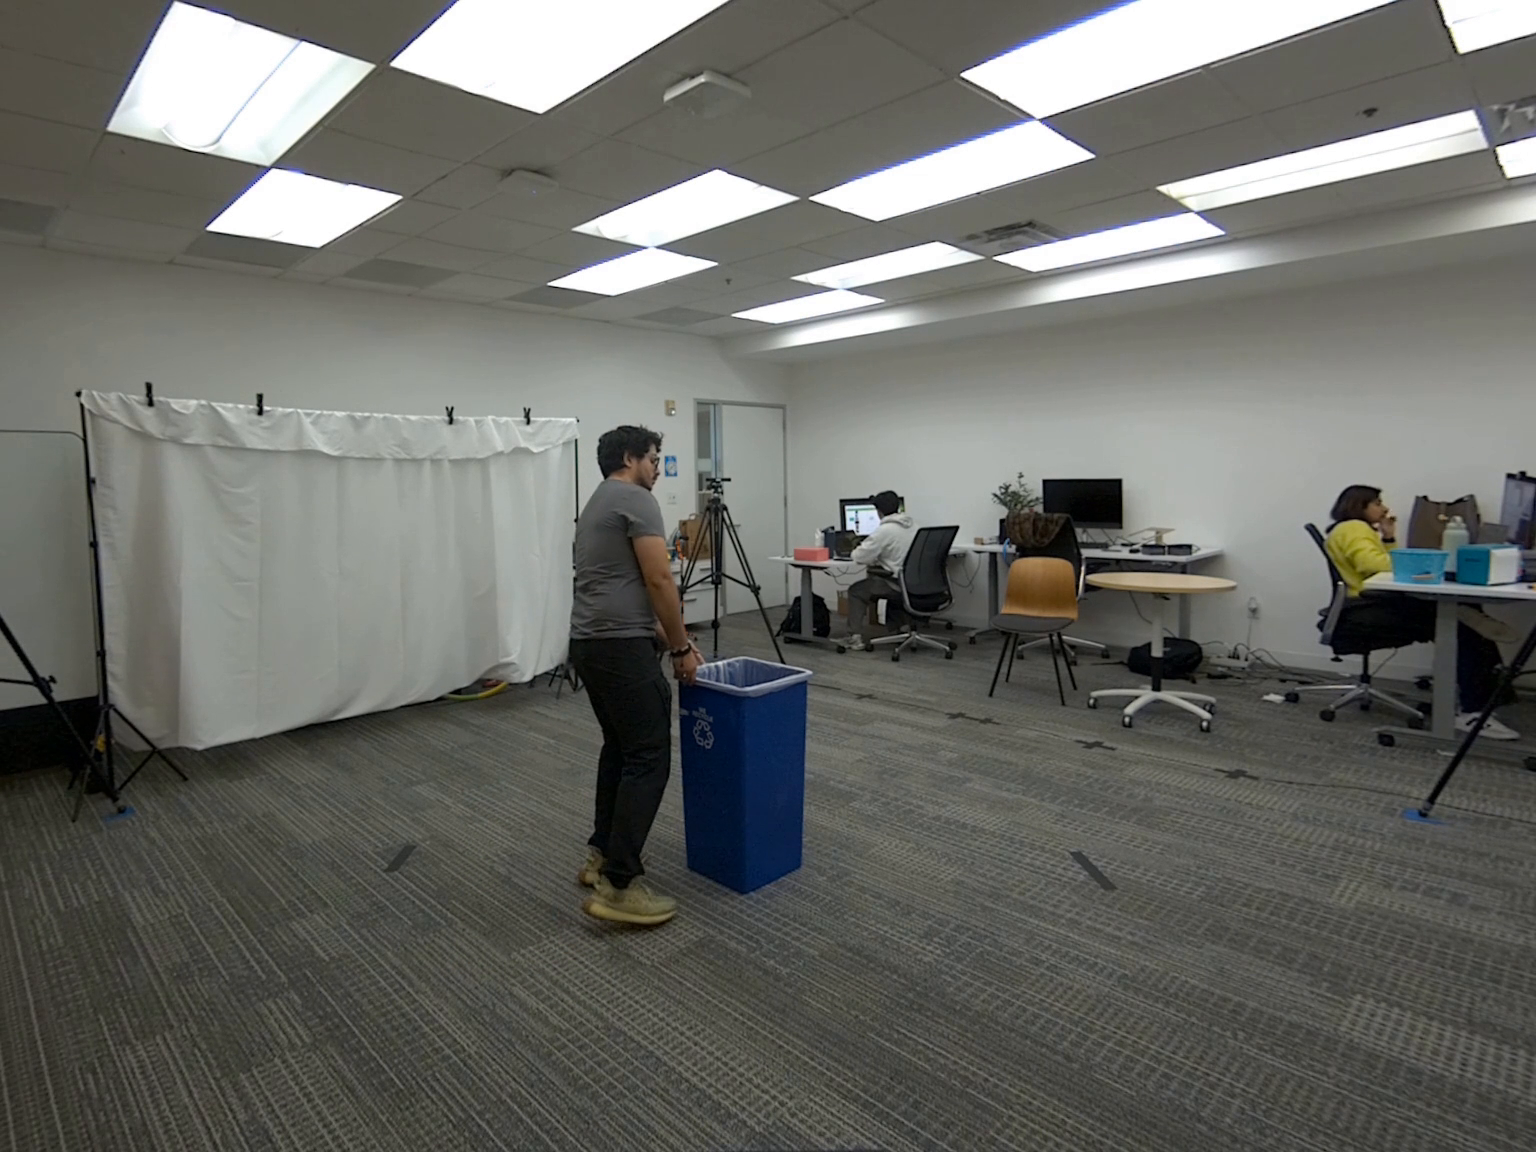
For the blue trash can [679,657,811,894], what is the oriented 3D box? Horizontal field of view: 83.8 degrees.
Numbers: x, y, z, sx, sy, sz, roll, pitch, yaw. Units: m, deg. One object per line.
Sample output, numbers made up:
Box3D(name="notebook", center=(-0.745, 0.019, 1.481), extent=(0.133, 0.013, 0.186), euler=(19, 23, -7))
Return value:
Box3D(name="blue trash can", center=(-0.082, 0.692, 3.059), extent=(0.390, 0.710, 0.364), euler=(4, 7, 44))
